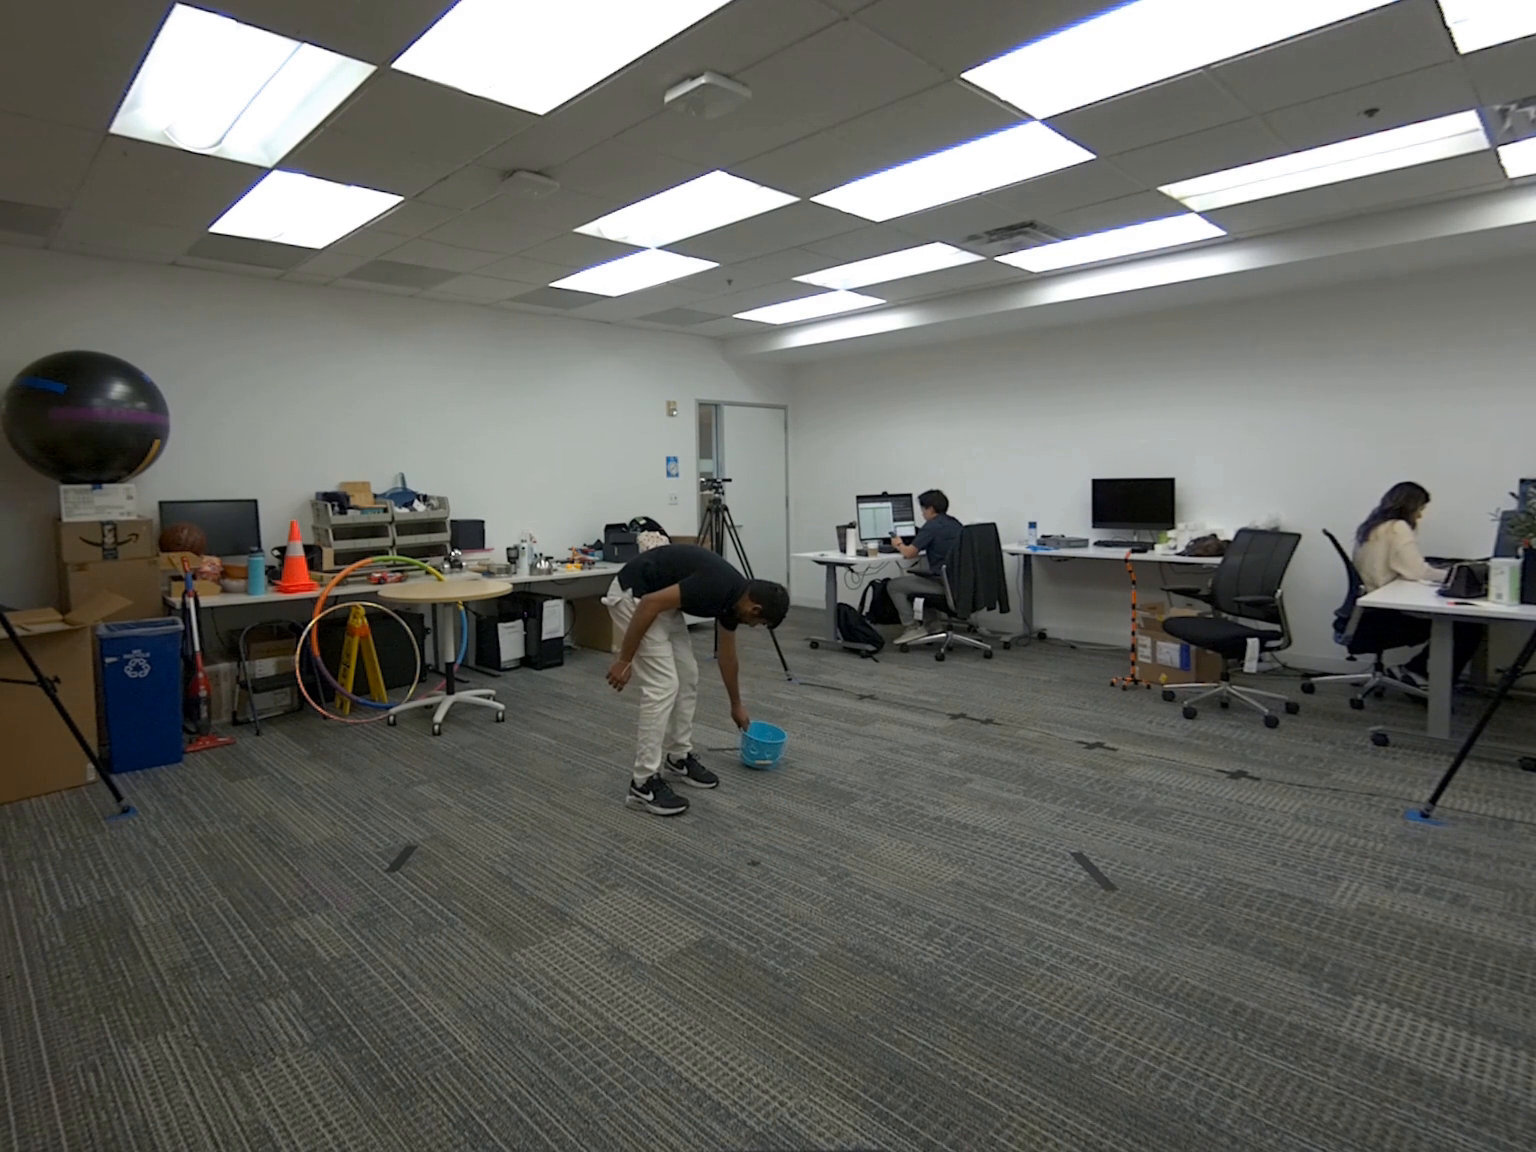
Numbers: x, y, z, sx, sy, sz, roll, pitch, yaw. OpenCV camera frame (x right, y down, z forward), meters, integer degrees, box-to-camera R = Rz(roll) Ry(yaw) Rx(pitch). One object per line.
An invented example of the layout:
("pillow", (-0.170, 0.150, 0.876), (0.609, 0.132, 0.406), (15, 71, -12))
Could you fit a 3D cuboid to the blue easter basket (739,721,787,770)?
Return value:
("blue easter basket", (-0.035, 0.831, 4.172), (0.243, 0.155, 0.246), (10, 11, -4))
